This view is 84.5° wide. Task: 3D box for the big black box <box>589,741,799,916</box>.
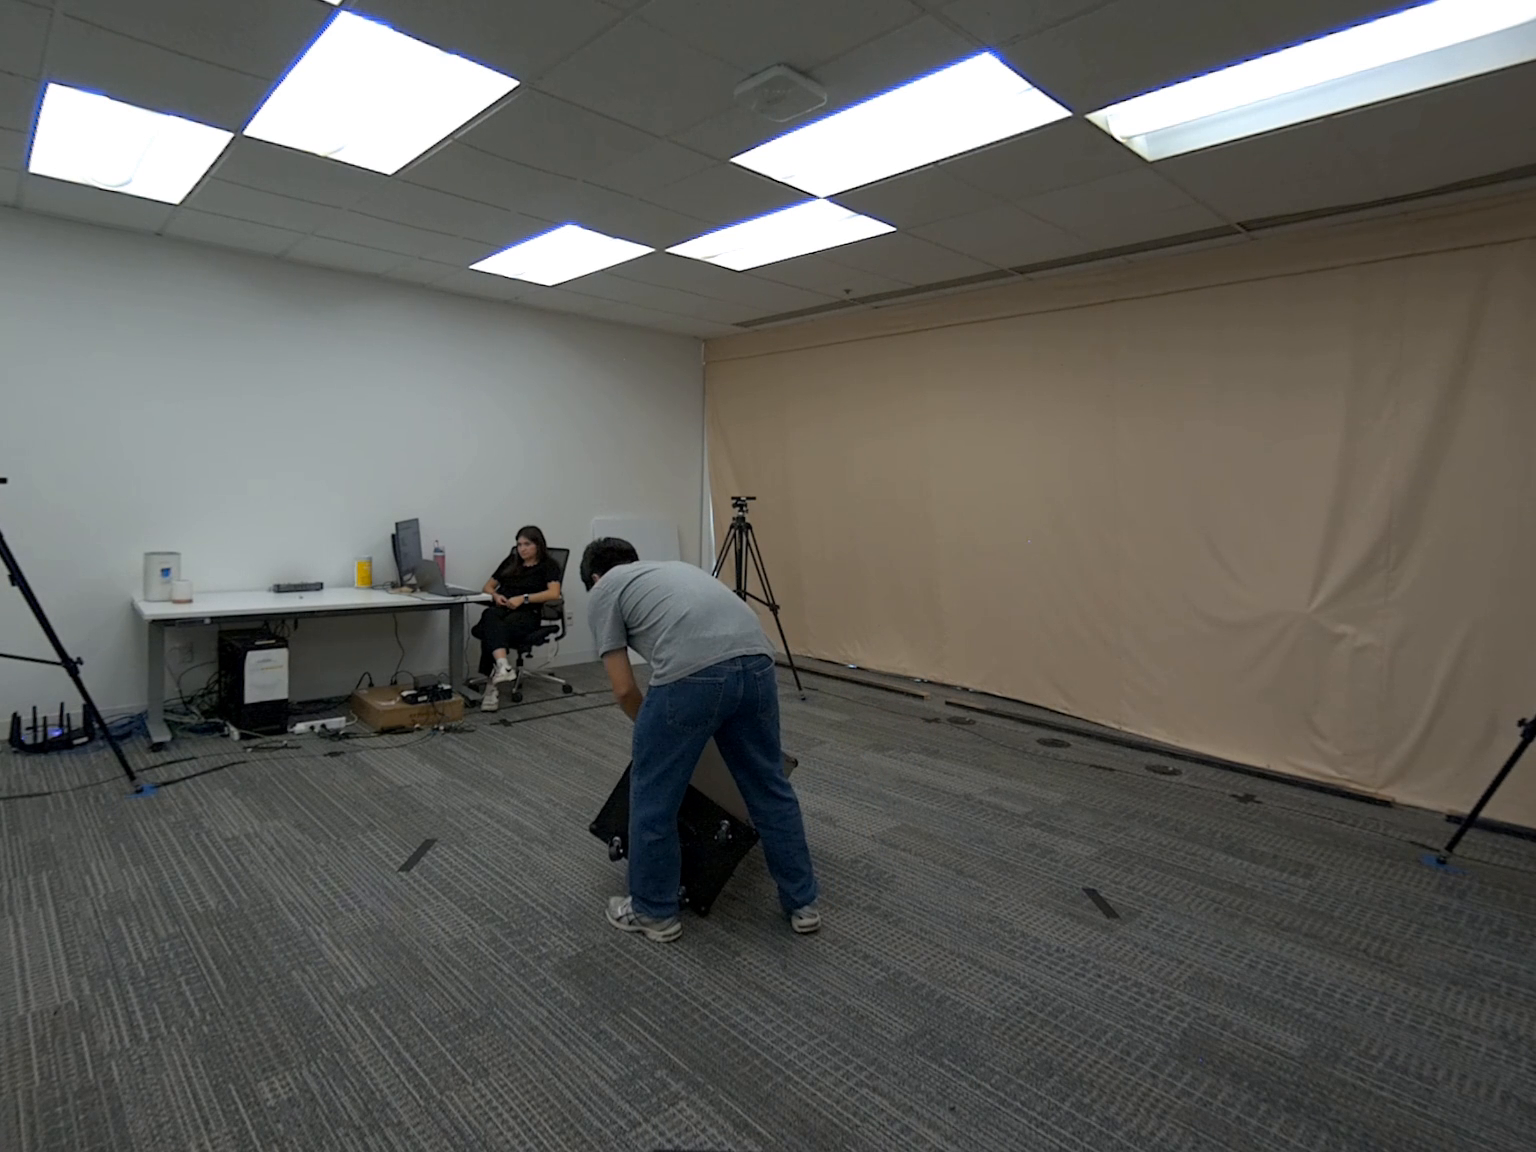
[{"bbox_3d":[-0.263,0.827,3.131,0.526,0.395,0.855,33,10,8],"label":"big black box"}]
